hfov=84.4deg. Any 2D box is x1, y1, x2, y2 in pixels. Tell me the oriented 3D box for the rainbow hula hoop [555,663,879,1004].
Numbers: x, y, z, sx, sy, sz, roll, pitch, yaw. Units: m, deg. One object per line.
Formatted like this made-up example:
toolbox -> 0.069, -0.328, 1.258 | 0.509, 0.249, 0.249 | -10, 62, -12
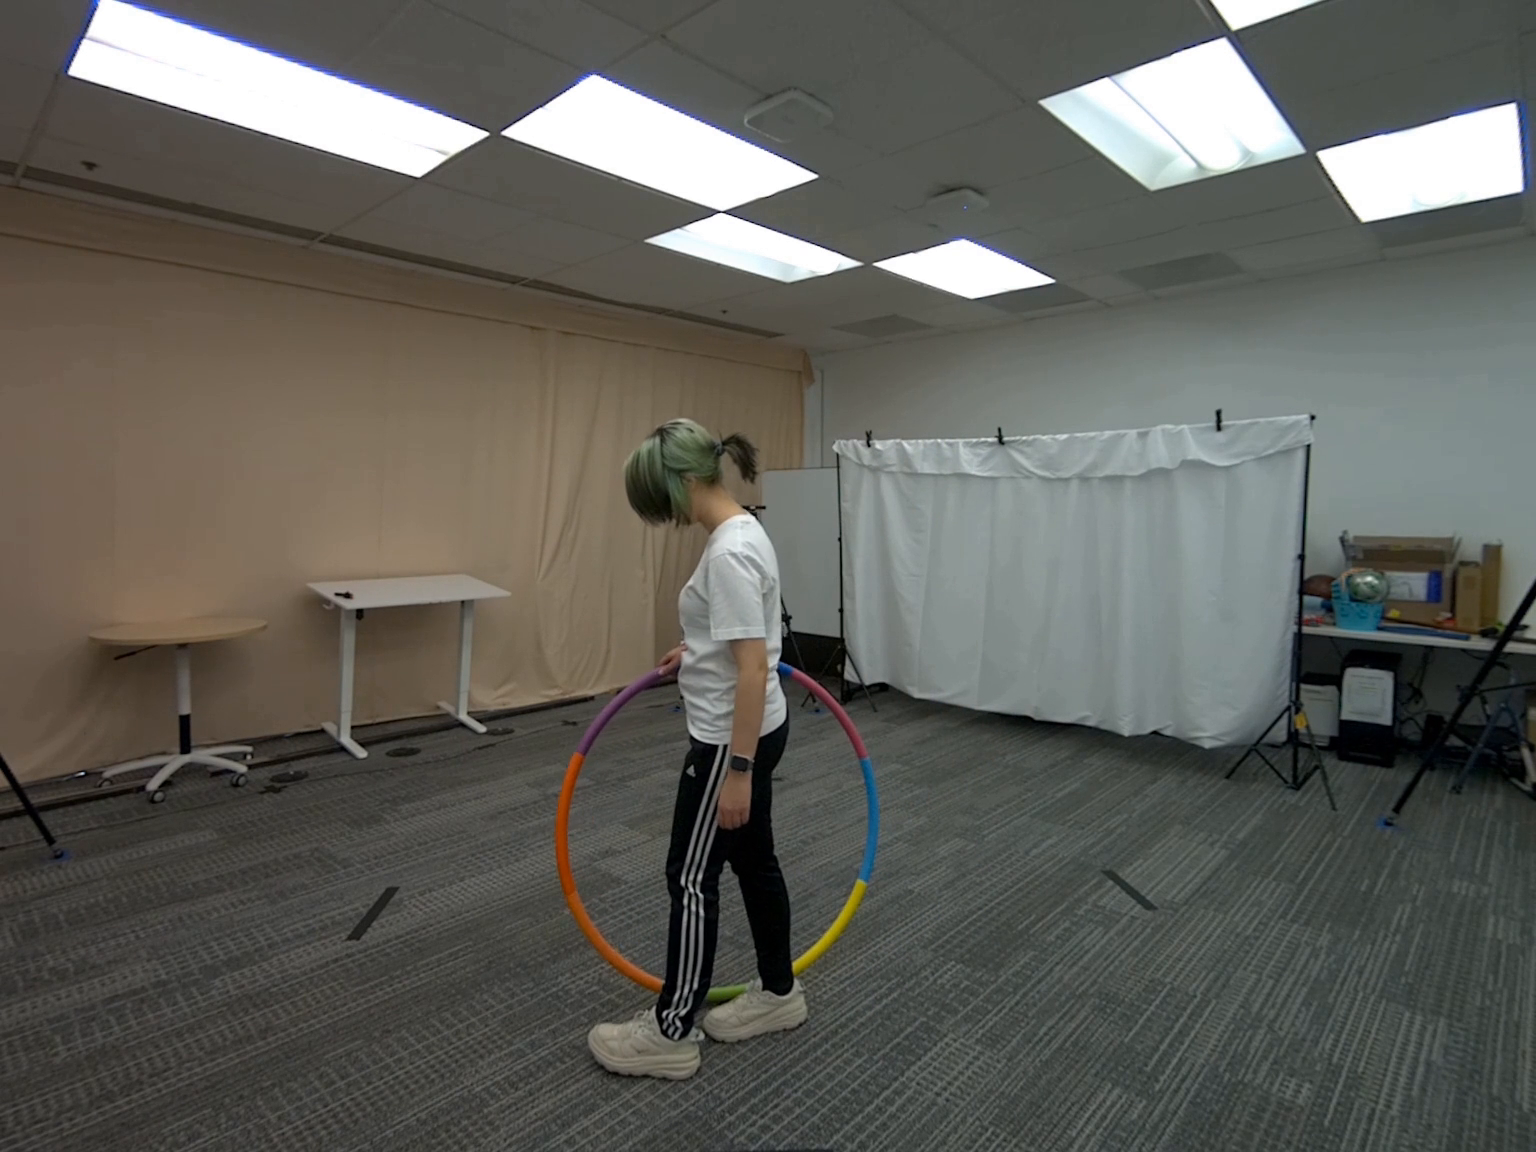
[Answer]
rainbow hula hoop -> -0.117, 0.711, 2.441 | 0.959, 0.984, 0.036 | -2, -8, -20
